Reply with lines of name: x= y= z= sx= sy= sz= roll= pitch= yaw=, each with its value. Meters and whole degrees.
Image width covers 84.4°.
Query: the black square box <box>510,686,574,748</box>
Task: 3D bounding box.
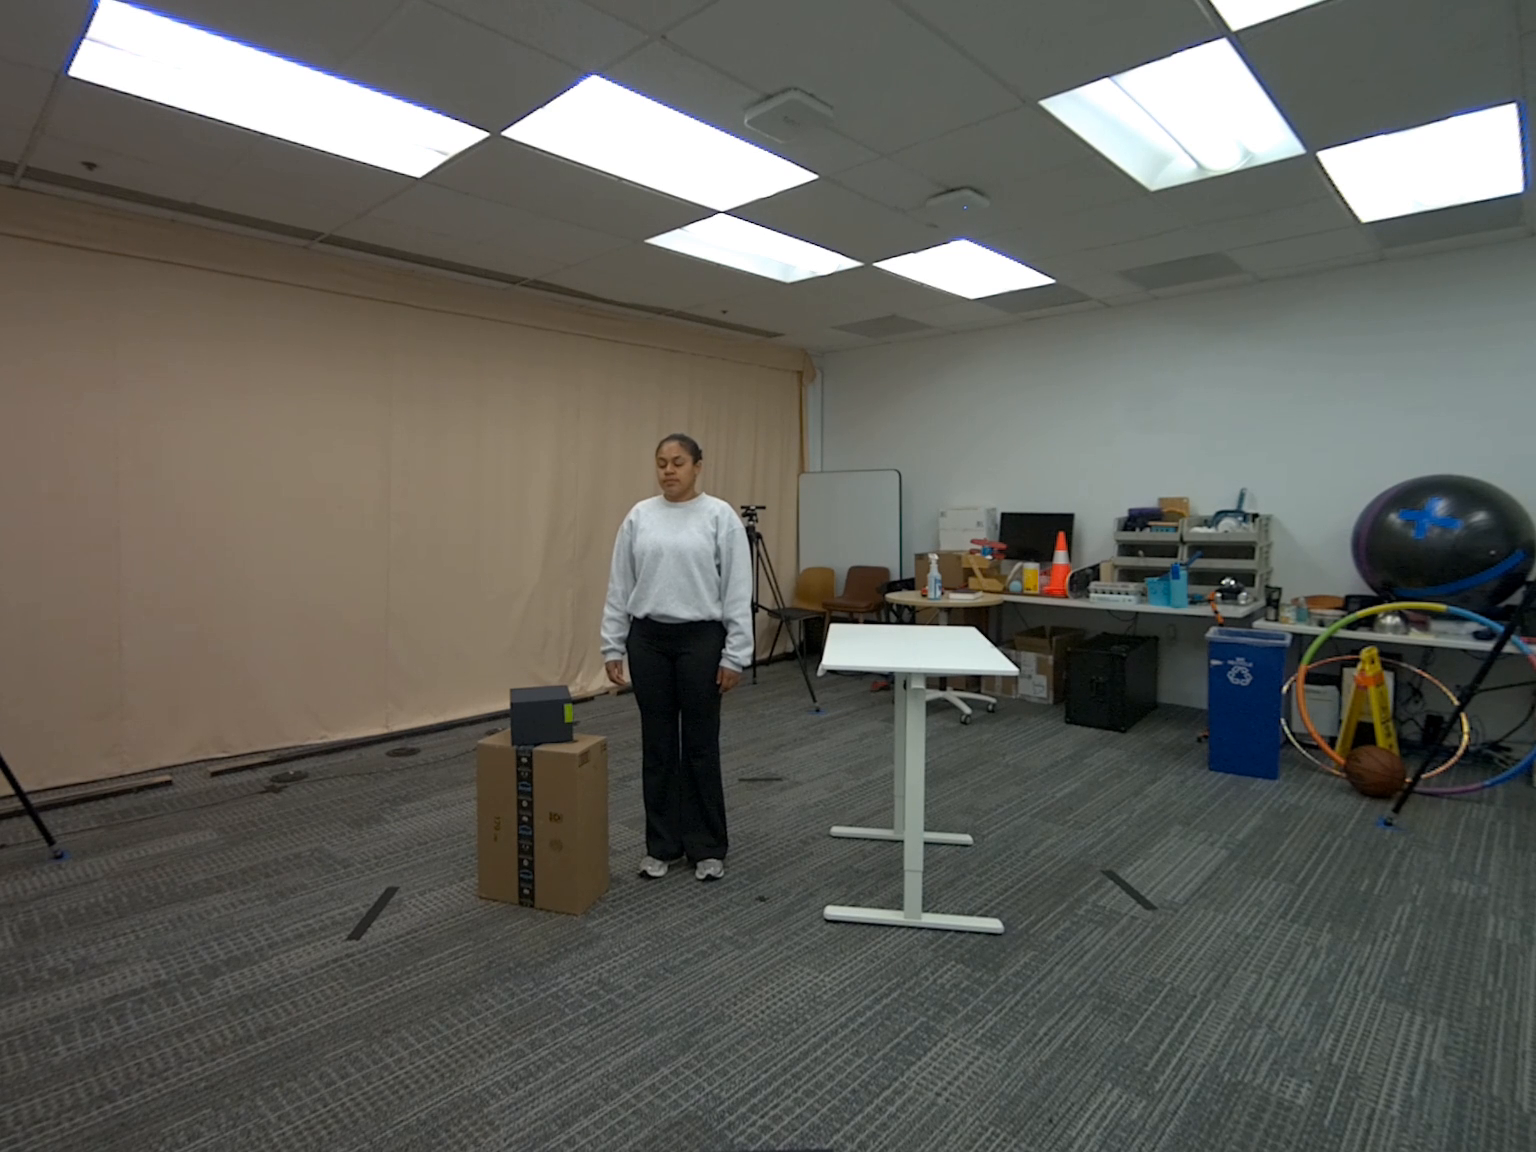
black square box: x=-0.823 y=0.503 z=3.055 sx=0.213 sy=0.155 sz=0.232 roll=-2 pitch=4 yaw=-16
